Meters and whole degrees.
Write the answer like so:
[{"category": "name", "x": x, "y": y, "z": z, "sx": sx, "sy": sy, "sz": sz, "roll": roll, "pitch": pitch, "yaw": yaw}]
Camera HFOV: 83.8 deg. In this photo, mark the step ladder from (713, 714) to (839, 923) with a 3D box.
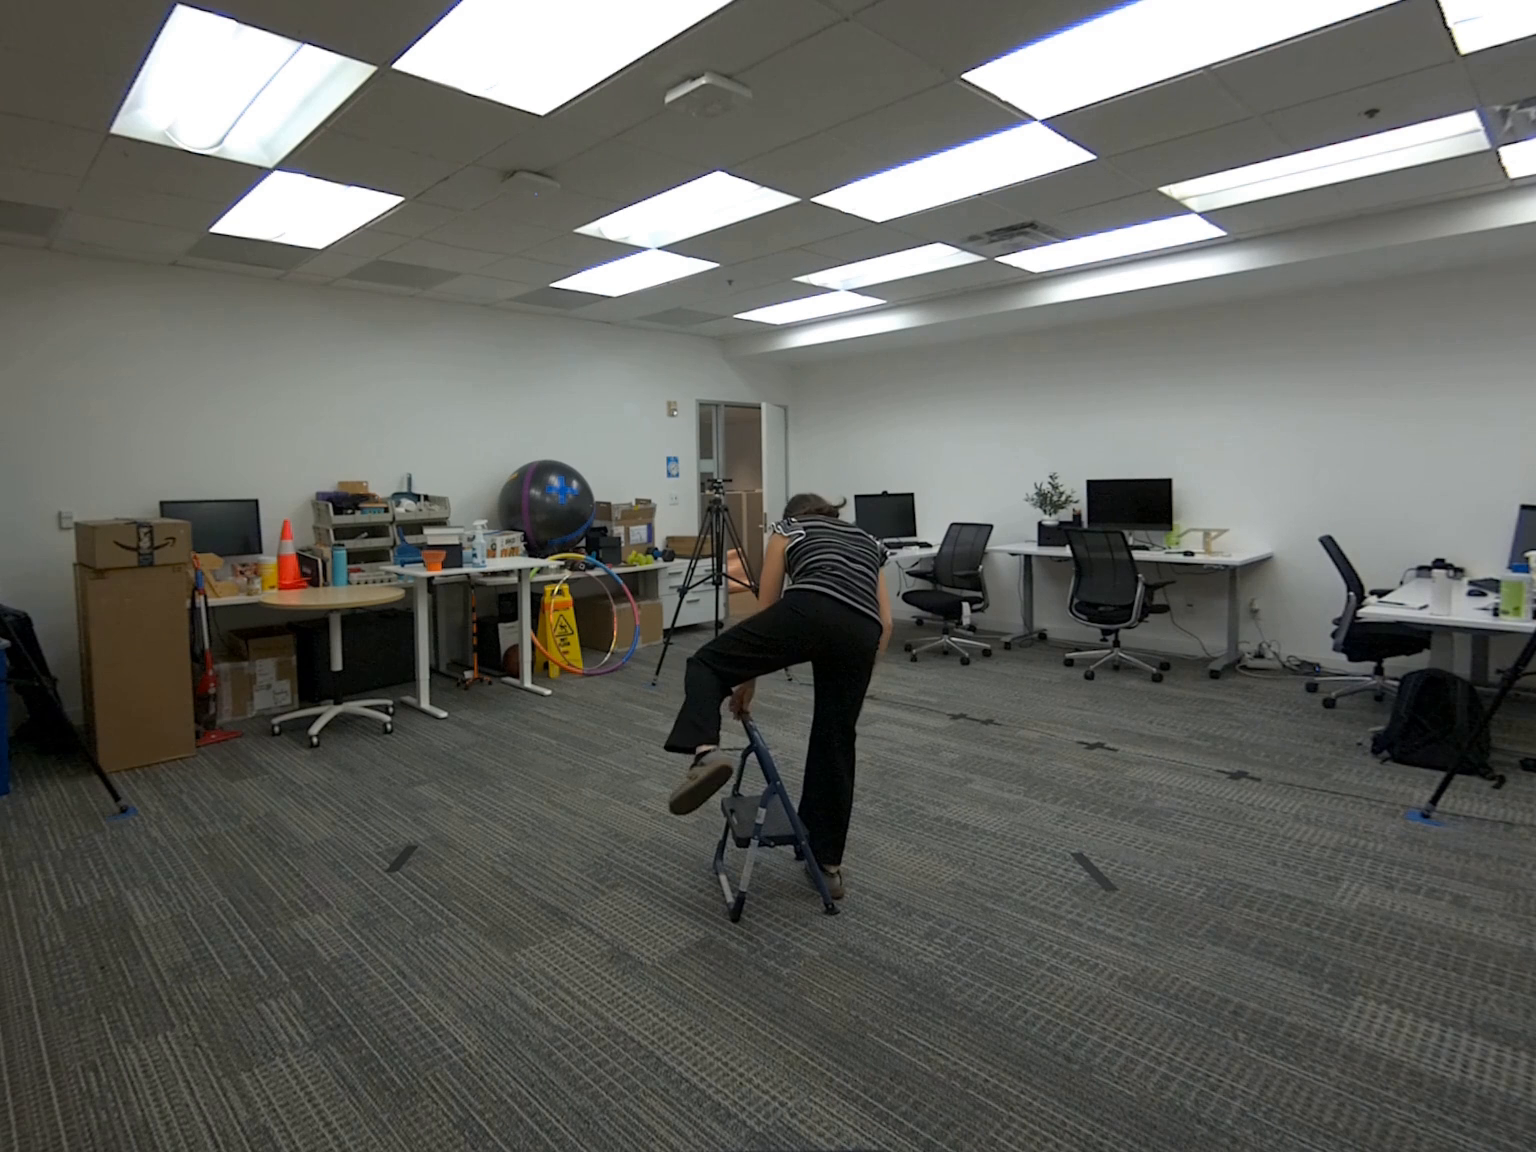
[{"category": "step ladder", "x": 0.009, "y": 0.766, "z": 2.899, "sx": 0.346, "sy": 0.604, "sz": 0.436, "roll": -2, "pitch": 4, "yaw": -11}]
